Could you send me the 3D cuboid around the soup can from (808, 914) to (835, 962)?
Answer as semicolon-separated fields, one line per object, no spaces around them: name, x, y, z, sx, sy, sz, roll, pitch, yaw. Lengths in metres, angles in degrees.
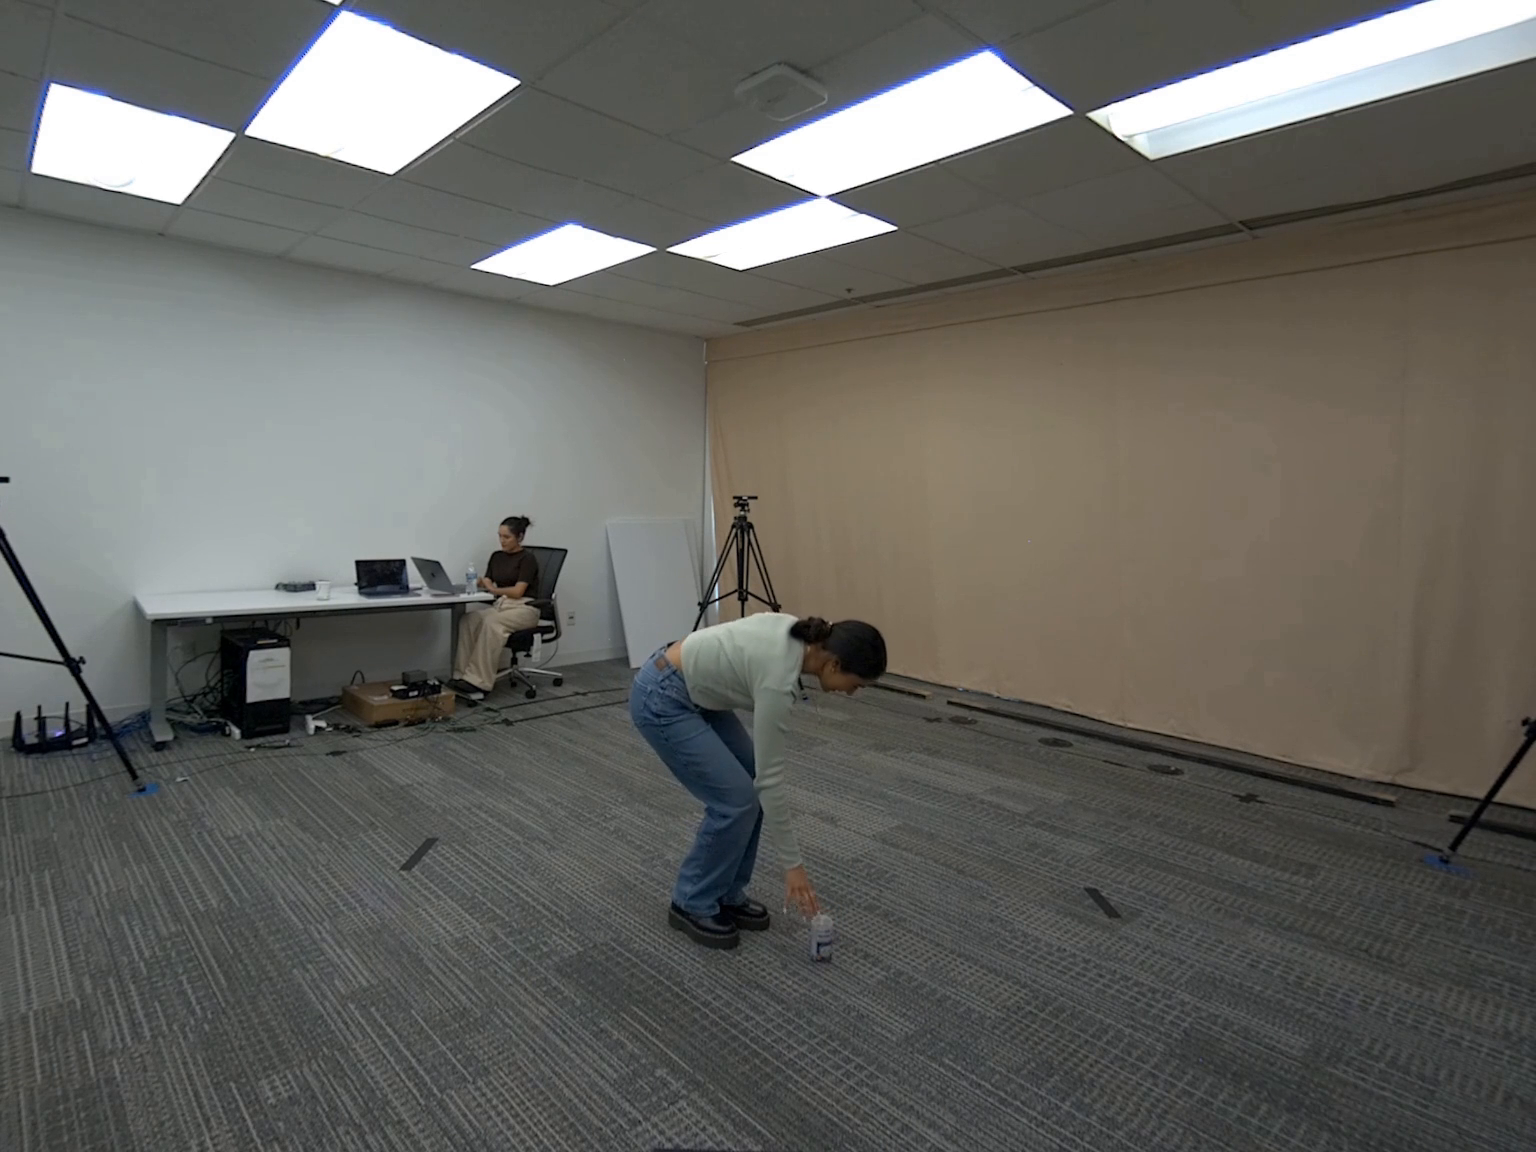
soup can;0.154;1.104;2.542;0.067;0.121;0.067;4;7;-2
